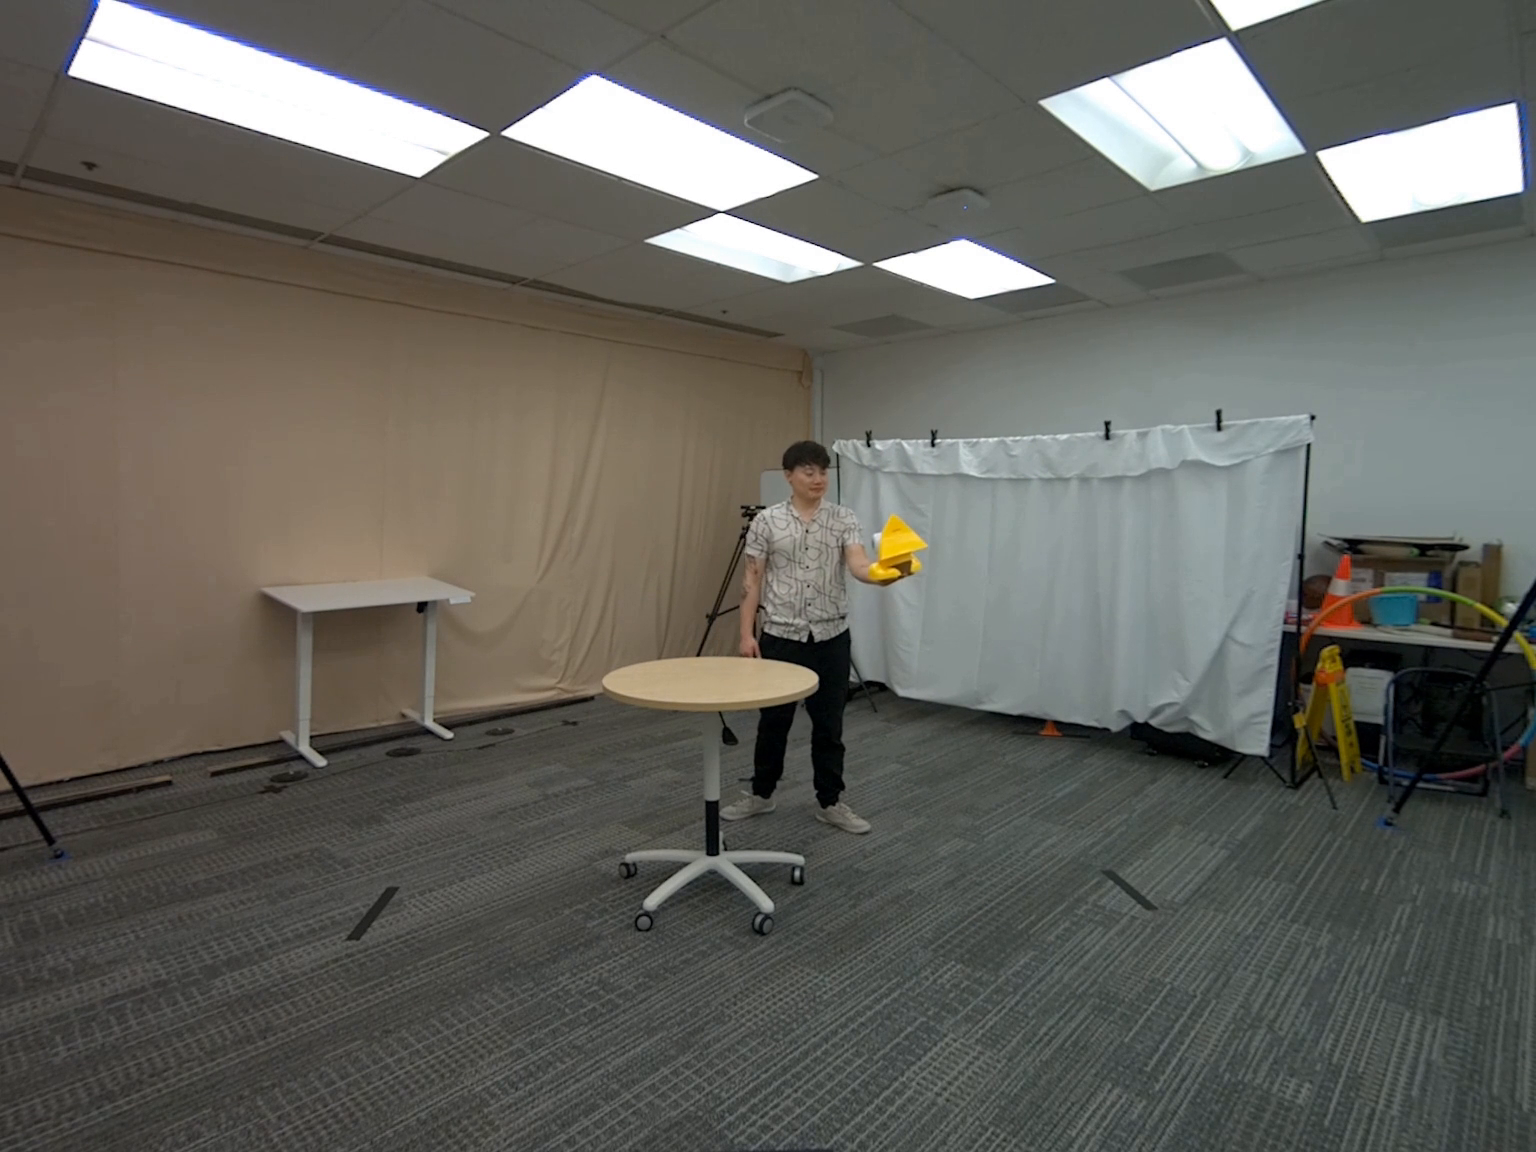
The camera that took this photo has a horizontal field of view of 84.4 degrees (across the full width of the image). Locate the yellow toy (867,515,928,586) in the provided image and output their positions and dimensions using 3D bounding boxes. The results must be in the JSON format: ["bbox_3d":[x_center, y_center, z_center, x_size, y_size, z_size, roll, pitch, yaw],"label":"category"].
[{"bbox_3d":[0.461,-0.119,3.196,0.201,0.230,0.197,-14,6,-21],"label":"yellow toy"}]
